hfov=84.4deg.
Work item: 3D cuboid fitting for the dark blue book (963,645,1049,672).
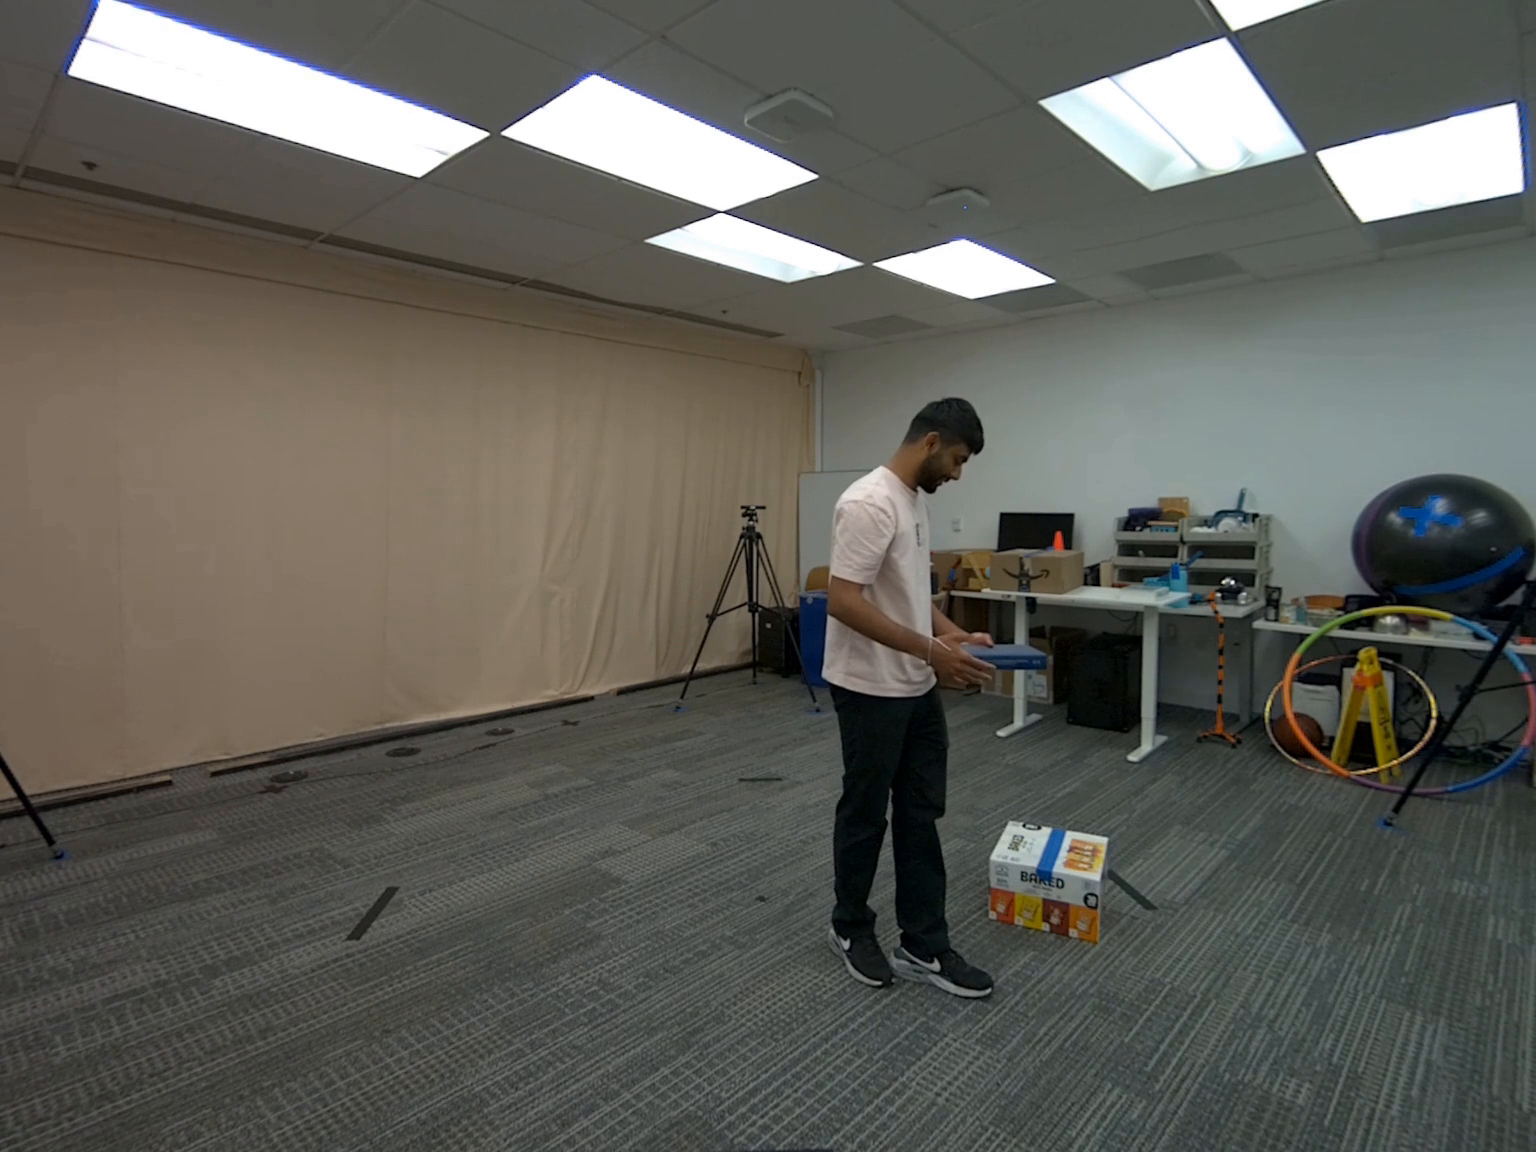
[{"bbox_3d":[0.633,0.231,2.369,0.245,0.045,0.164,0,5,0],"label":"dark blue book"}]
